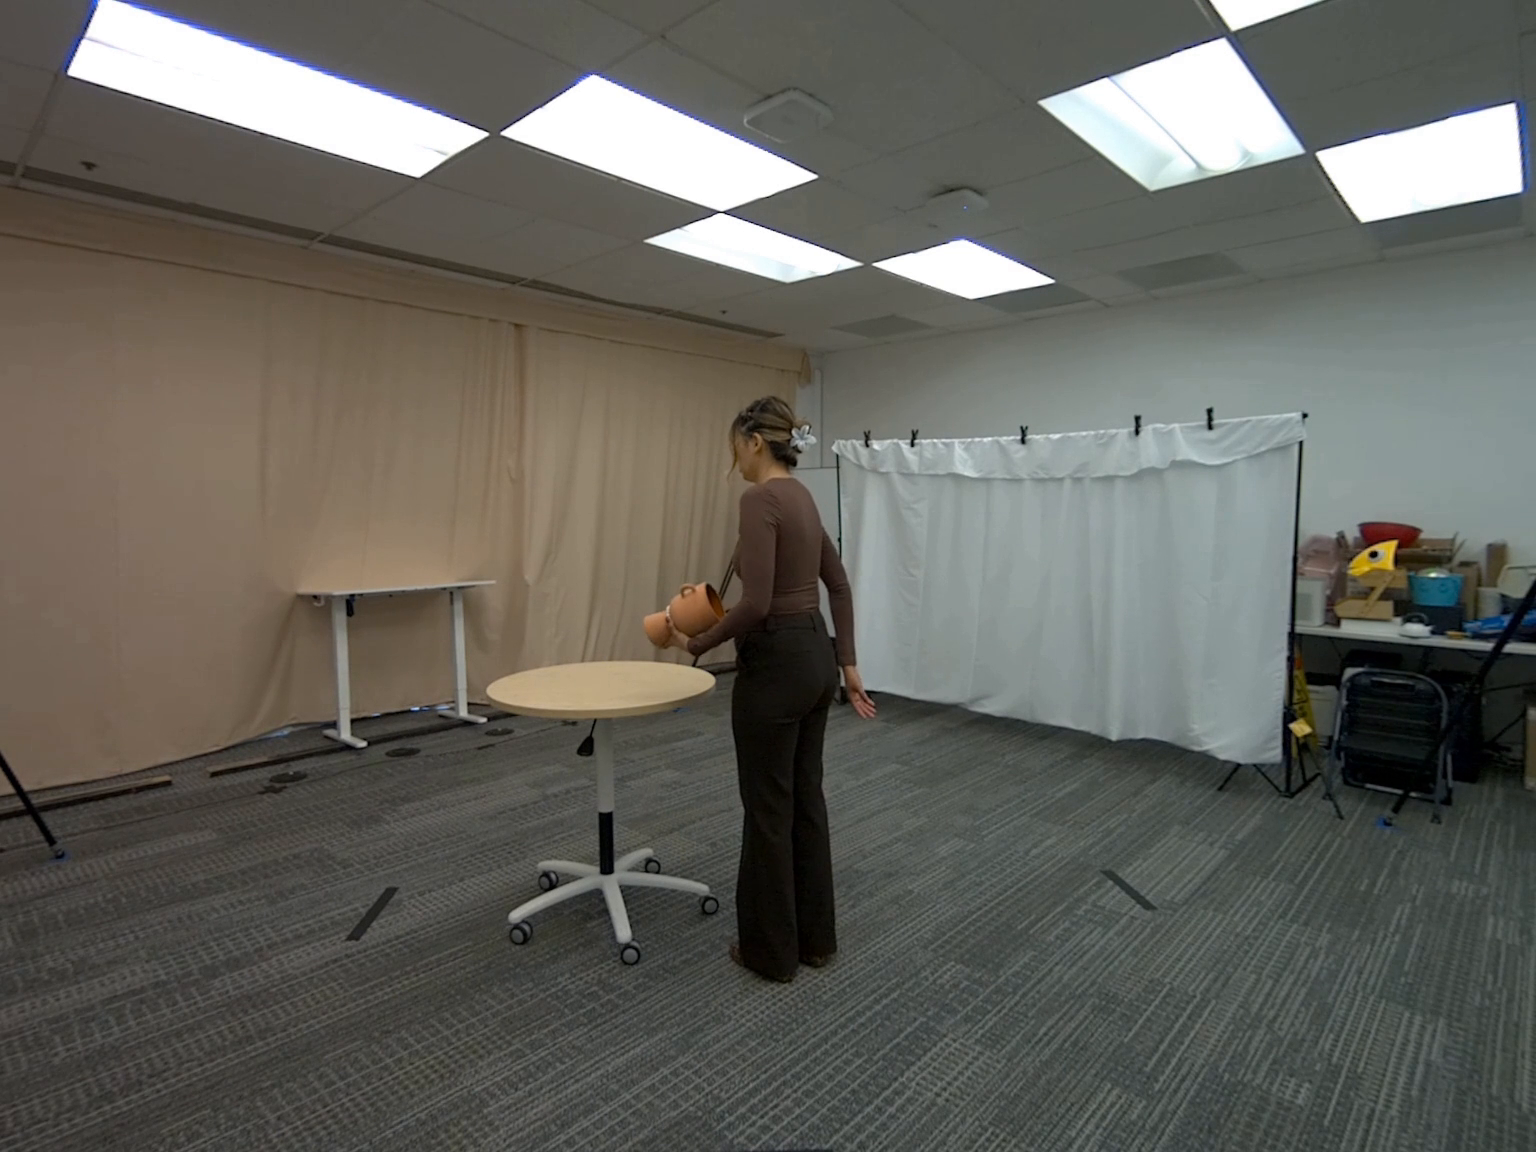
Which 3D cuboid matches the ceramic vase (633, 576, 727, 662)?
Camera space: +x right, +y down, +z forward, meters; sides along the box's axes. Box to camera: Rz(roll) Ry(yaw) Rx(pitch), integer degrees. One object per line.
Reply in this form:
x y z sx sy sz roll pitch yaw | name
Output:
-0.240 0.123 2.443 0.221 0.160 0.132 -27 -8 9 | ceramic vase
